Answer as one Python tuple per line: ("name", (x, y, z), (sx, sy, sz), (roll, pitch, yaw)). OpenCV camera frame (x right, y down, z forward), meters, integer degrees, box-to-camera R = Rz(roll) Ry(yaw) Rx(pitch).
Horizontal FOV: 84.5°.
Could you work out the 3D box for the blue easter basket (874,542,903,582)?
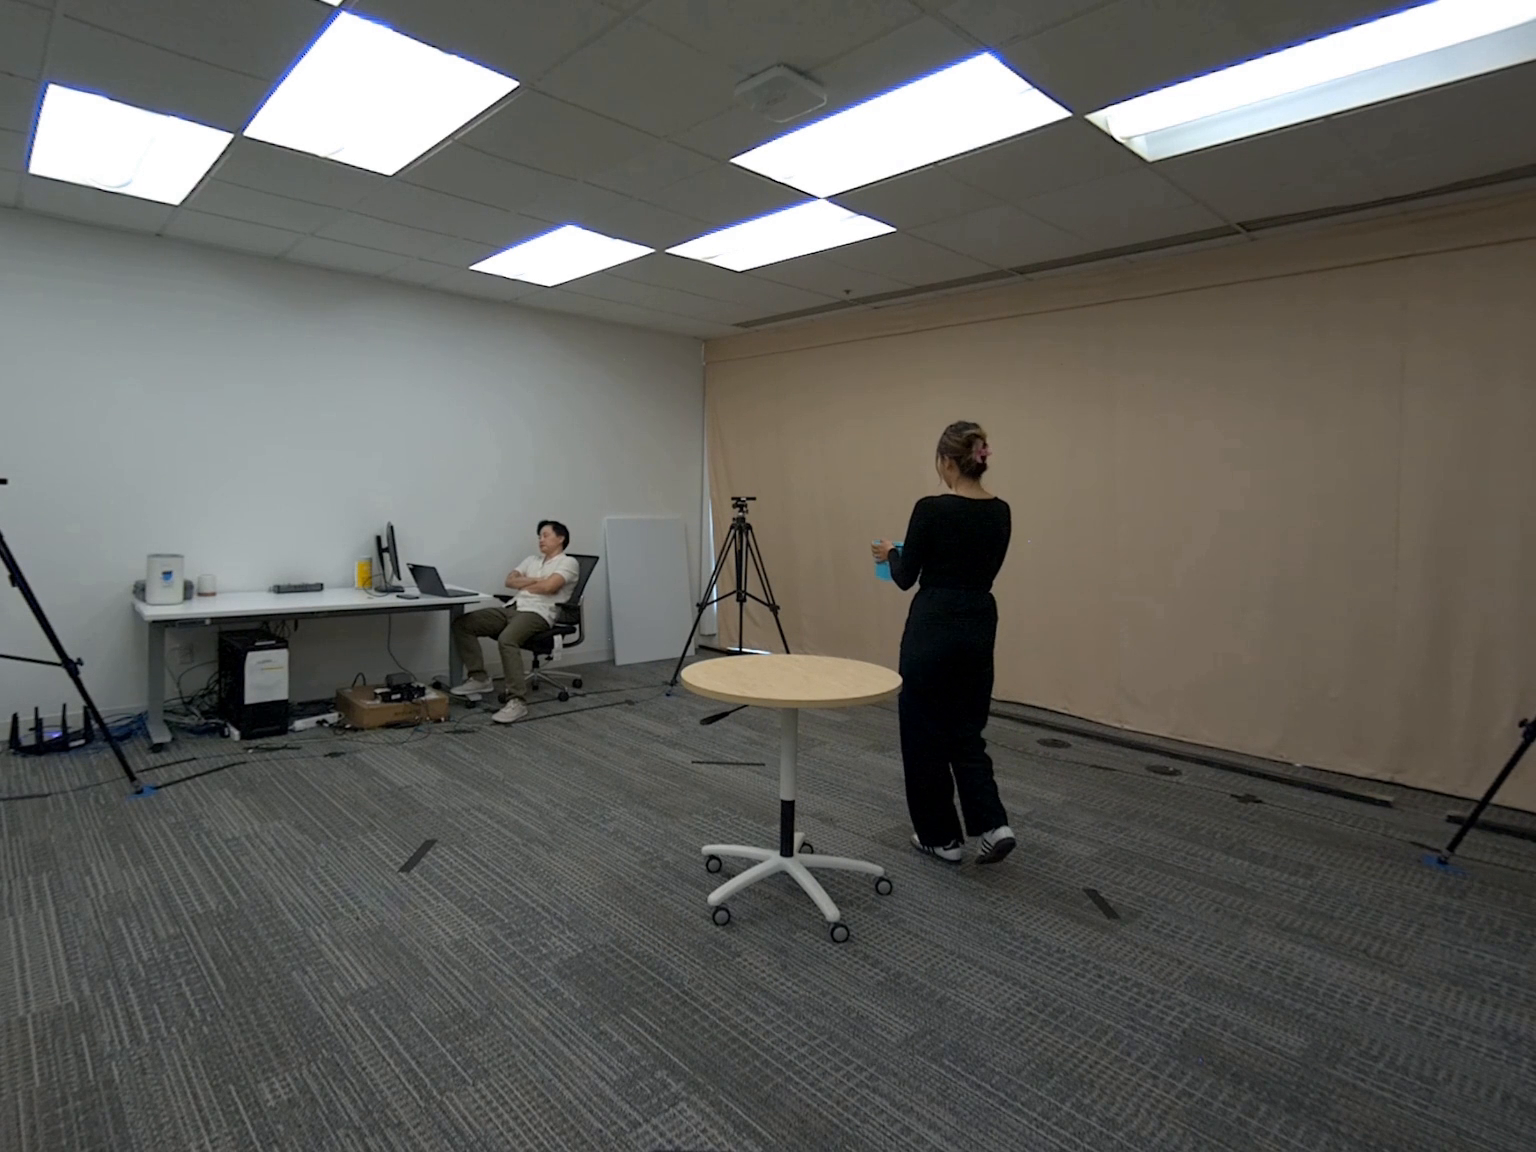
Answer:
("blue easter basket", (0.577, -0.055, 3.606), (0.243, 0.155, 0.244), (2, 5, -2))
